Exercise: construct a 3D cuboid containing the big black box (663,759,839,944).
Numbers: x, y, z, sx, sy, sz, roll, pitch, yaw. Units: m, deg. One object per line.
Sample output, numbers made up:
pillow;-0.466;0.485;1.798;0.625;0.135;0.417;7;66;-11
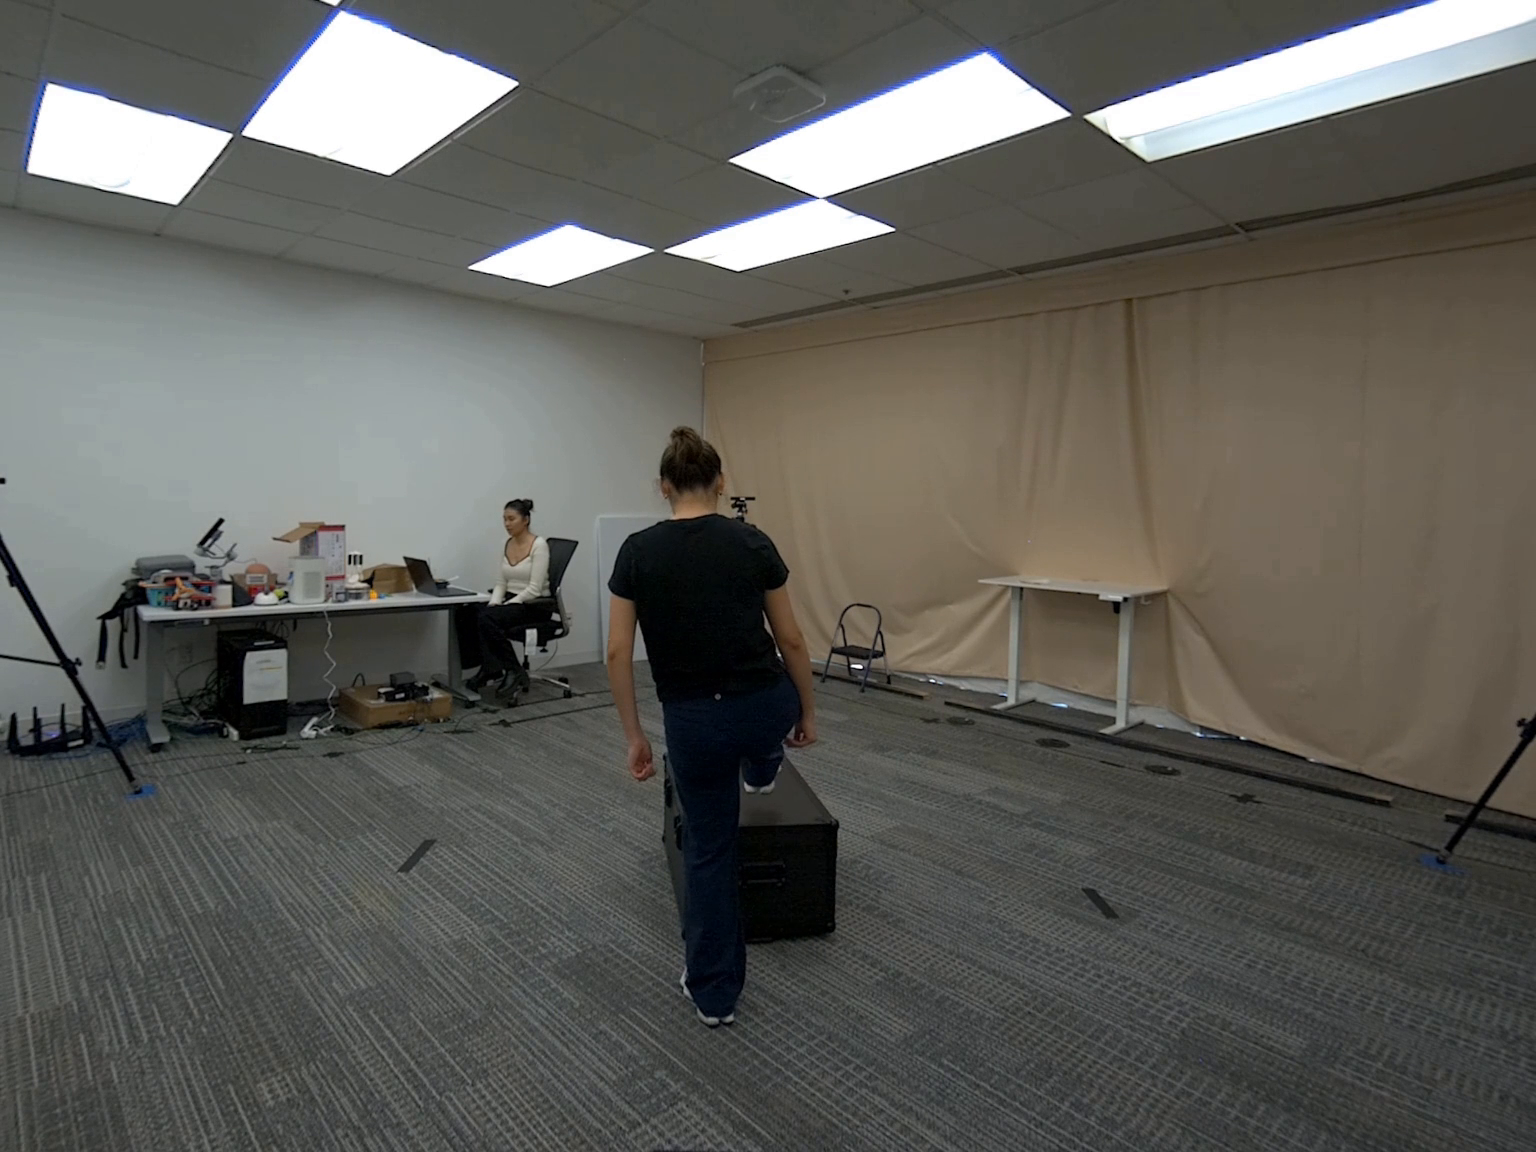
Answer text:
big black box;-0.105;0.921;3.019;0.516;0.395;0.872;0;5;-12
